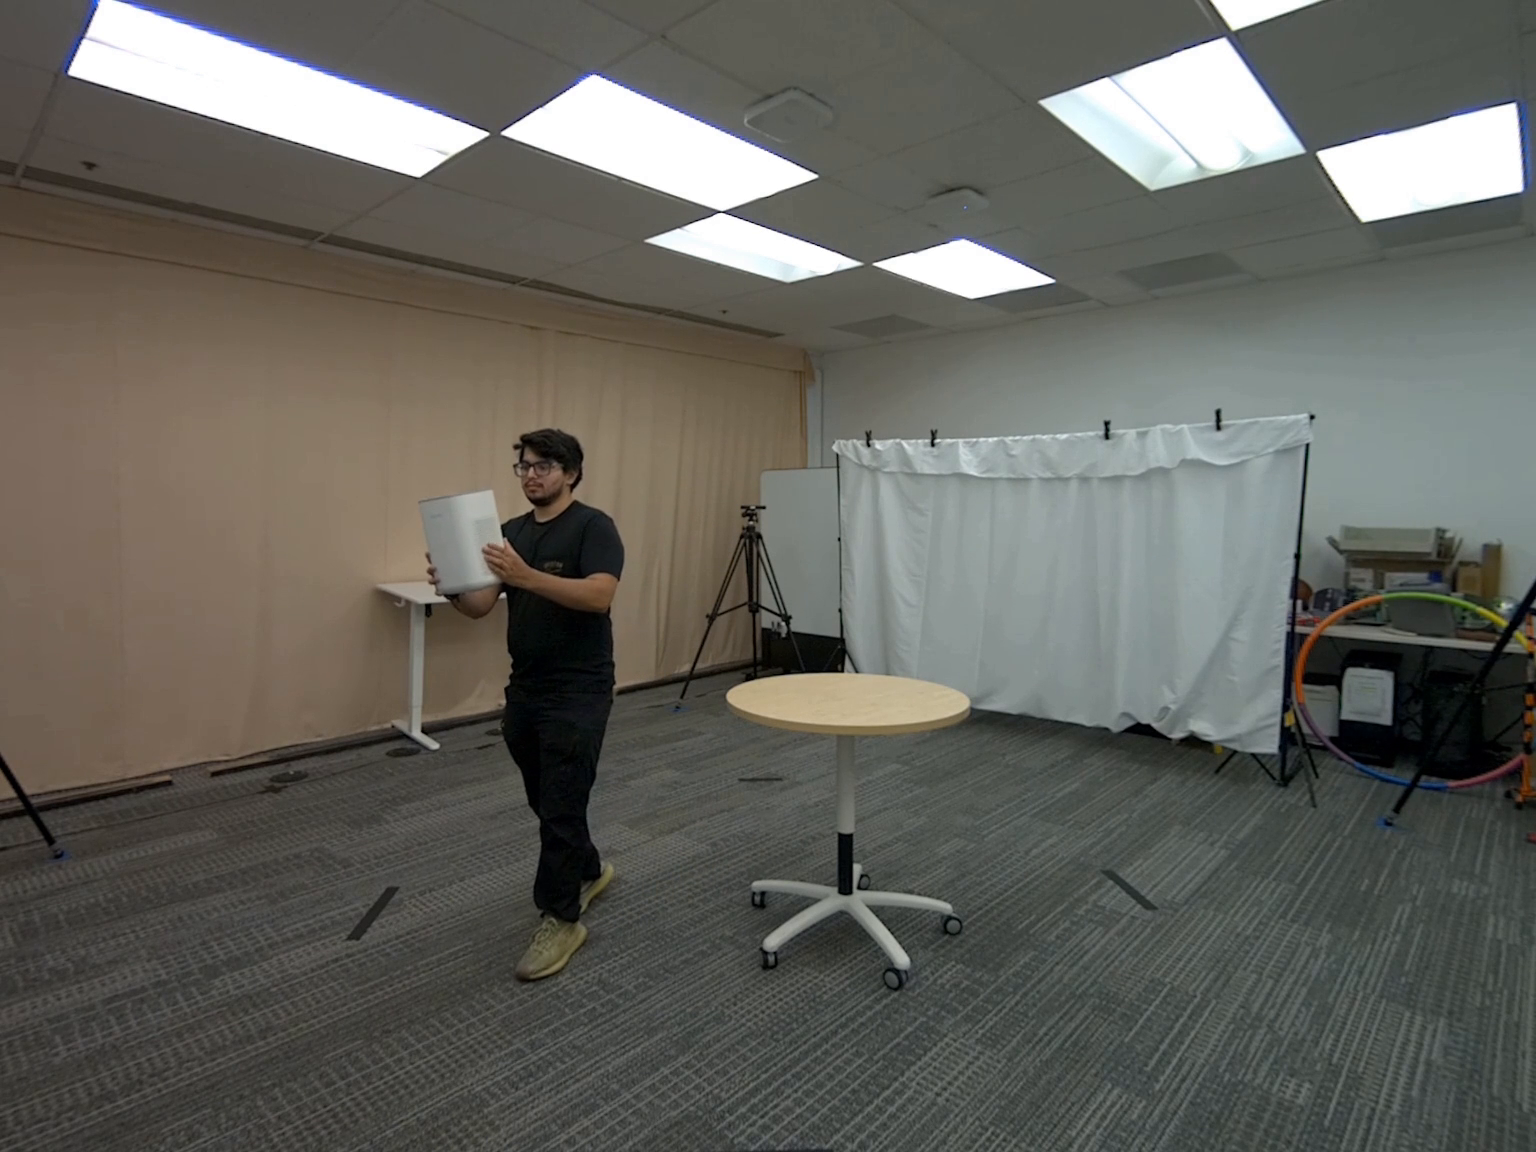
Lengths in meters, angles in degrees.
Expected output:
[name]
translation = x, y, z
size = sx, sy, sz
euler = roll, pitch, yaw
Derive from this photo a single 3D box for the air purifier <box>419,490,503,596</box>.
[air purifier]
translation = -0.829, -0.096, 2.315
size = 0.175, 0.264, 0.169
euler = -9, 8, 23
